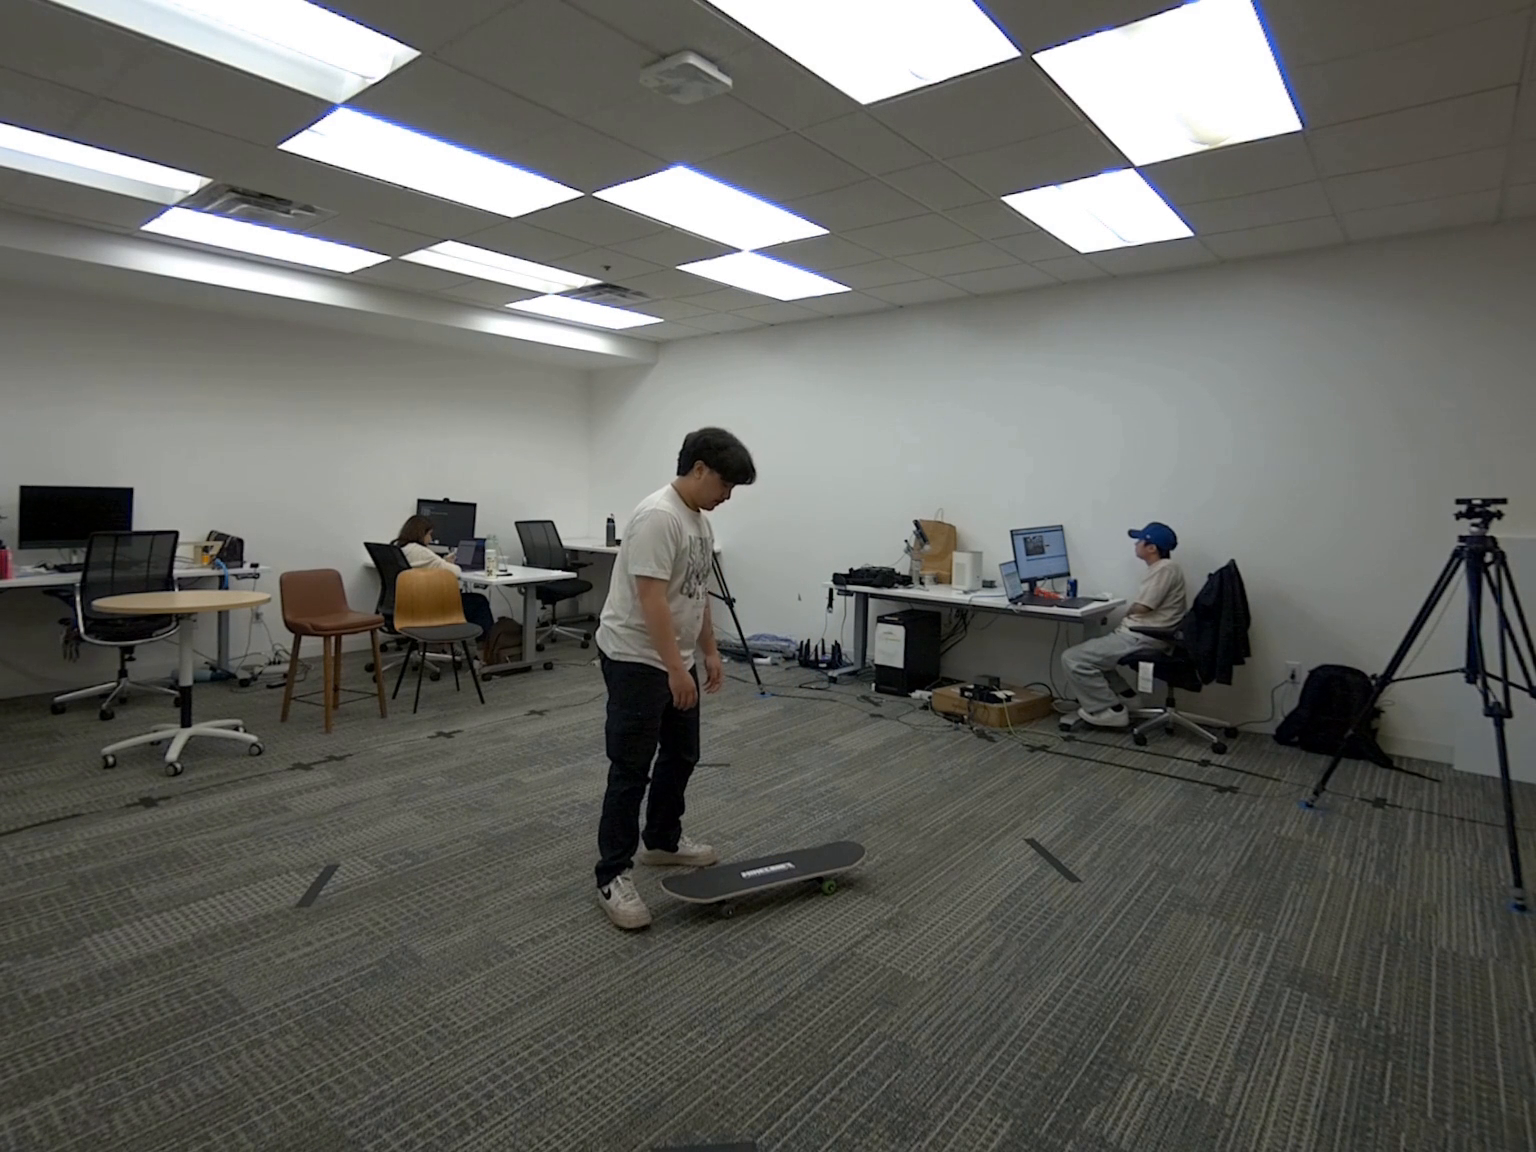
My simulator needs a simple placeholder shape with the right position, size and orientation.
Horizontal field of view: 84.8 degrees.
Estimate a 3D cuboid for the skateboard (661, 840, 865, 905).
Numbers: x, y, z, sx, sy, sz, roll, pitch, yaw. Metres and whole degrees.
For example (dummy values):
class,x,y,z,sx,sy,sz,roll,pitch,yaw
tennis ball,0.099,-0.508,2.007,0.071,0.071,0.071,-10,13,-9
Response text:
class,x,y,z,sx,sy,sz,roll,pitch,yaw
skateboard,-0.004,1.039,2.913,0.765,0.110,0.199,-2,6,-28
